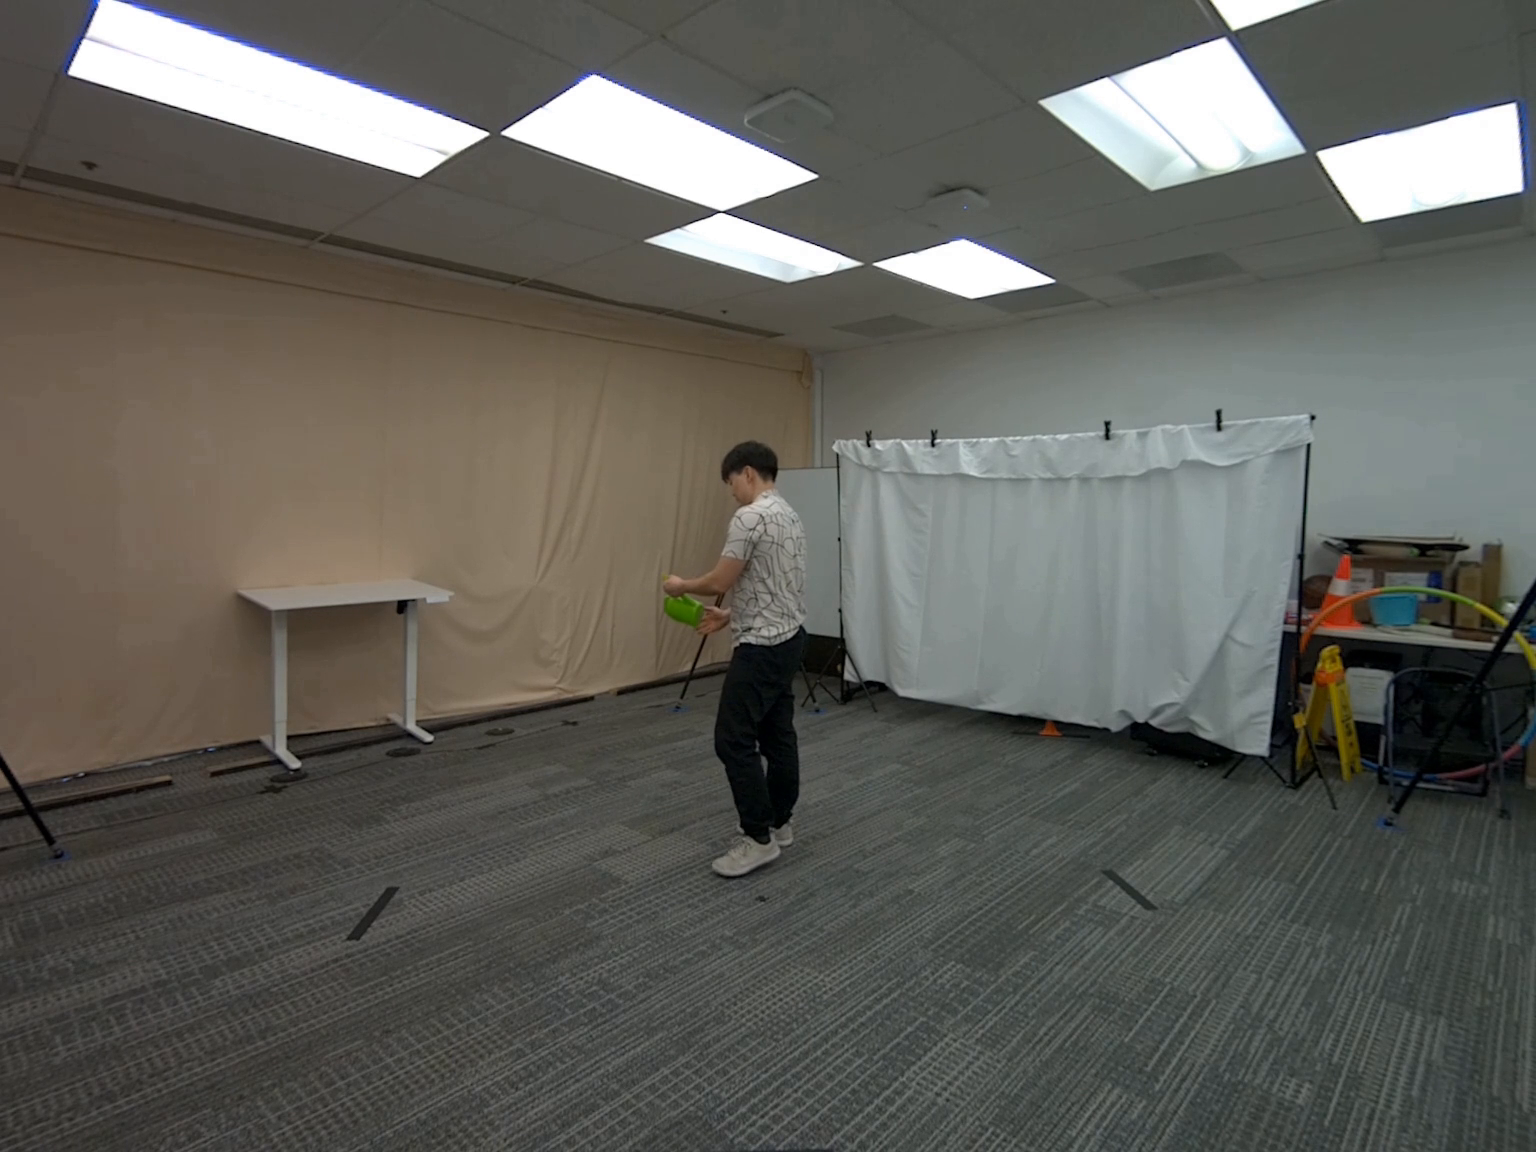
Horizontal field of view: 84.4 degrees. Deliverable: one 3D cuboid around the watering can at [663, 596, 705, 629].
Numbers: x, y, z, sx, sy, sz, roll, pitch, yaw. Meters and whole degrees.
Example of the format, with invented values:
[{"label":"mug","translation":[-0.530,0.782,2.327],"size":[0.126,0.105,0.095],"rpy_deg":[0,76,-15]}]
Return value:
[{"label":"watering can","translation":[-0.370,0.120,3.588],"size":[0.180,0.098,0.273],"rpy_deg":[20,-29,14]}]
